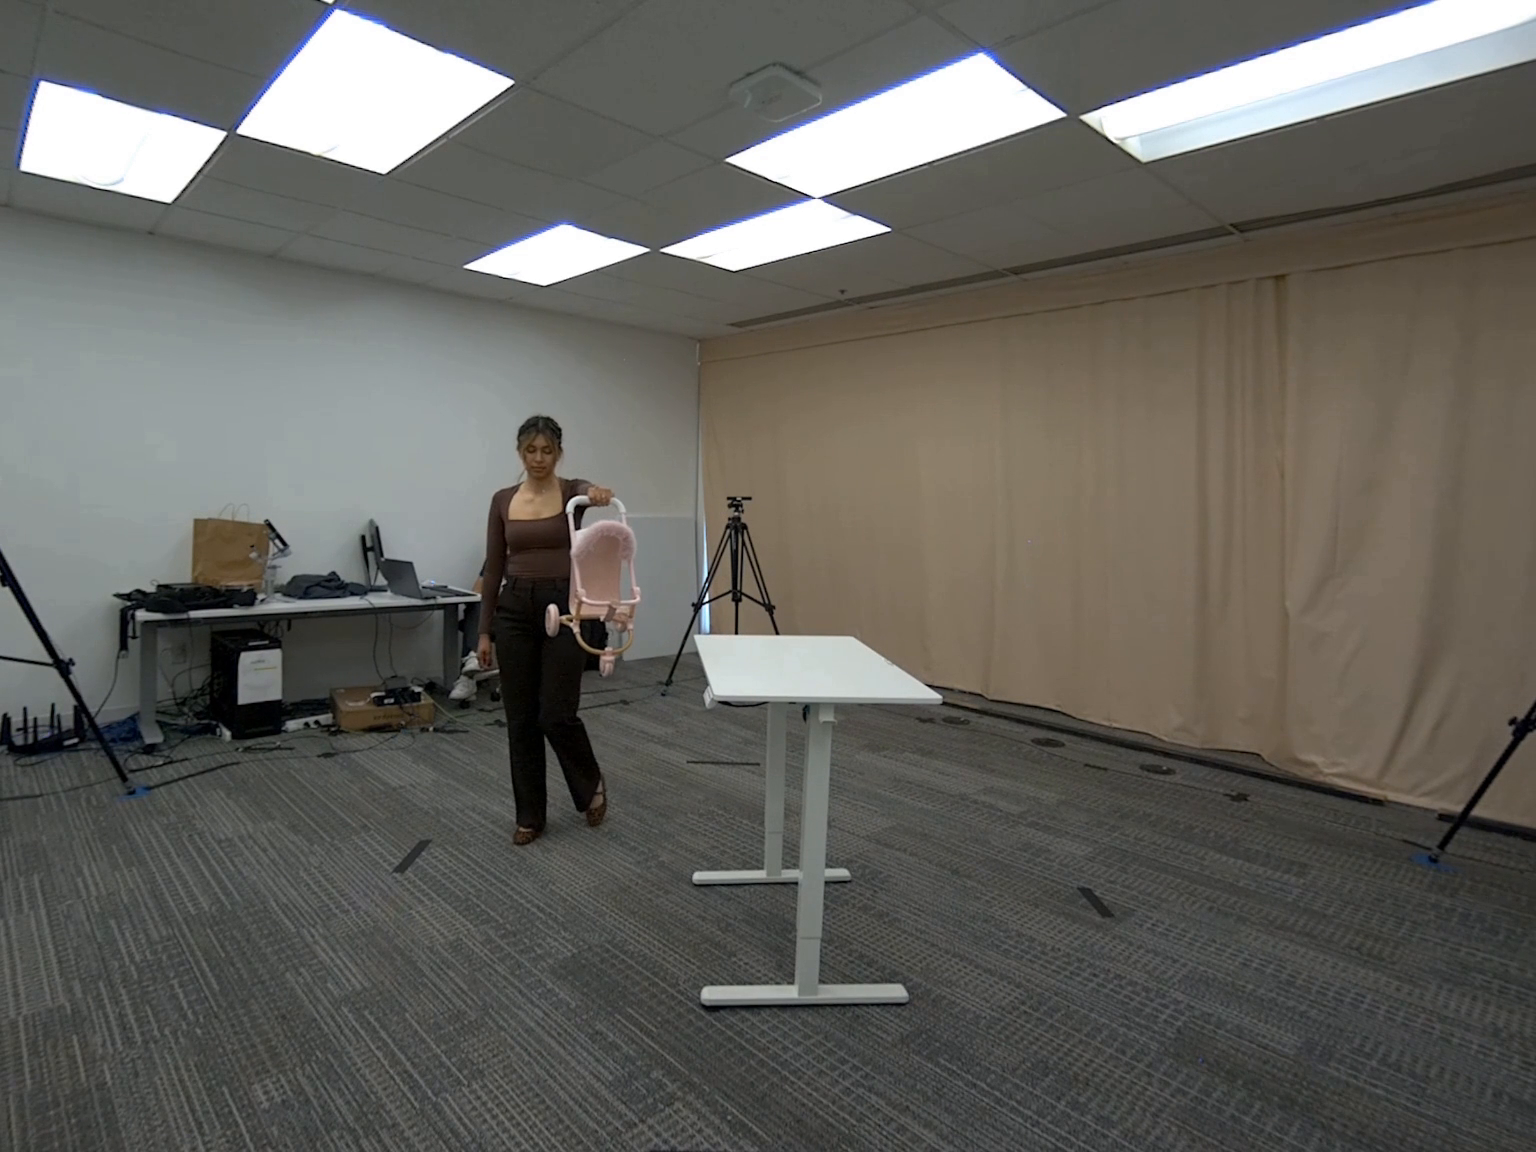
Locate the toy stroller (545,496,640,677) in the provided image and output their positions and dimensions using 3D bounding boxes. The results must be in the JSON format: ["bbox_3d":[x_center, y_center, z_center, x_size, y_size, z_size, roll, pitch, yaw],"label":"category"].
[{"bbox_3d":[-0.564,0.040,2.795,0.276,0.530,0.351,2,16,-26],"label":"toy stroller"}]
